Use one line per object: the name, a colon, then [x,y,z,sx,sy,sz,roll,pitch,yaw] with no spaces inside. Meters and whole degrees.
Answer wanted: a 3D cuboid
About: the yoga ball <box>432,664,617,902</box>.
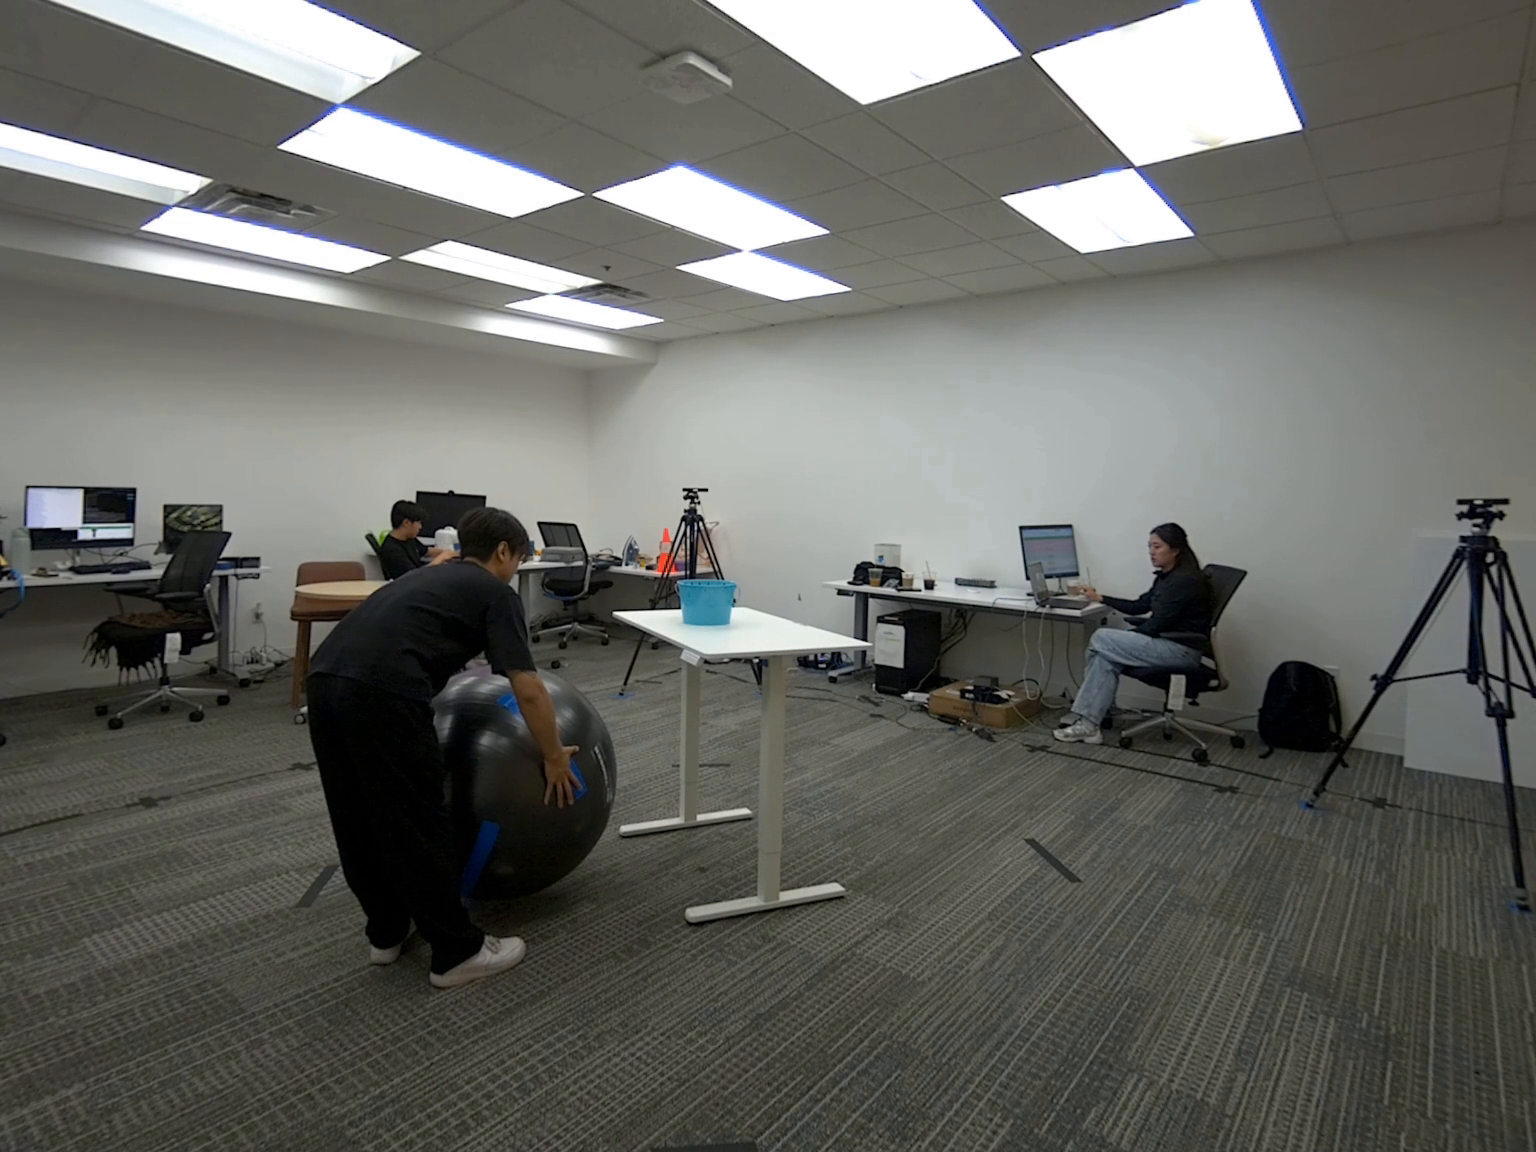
yoga ball: [-0.901,0.683,2.861,0.757,0.756,0.762,1,4,-2]
